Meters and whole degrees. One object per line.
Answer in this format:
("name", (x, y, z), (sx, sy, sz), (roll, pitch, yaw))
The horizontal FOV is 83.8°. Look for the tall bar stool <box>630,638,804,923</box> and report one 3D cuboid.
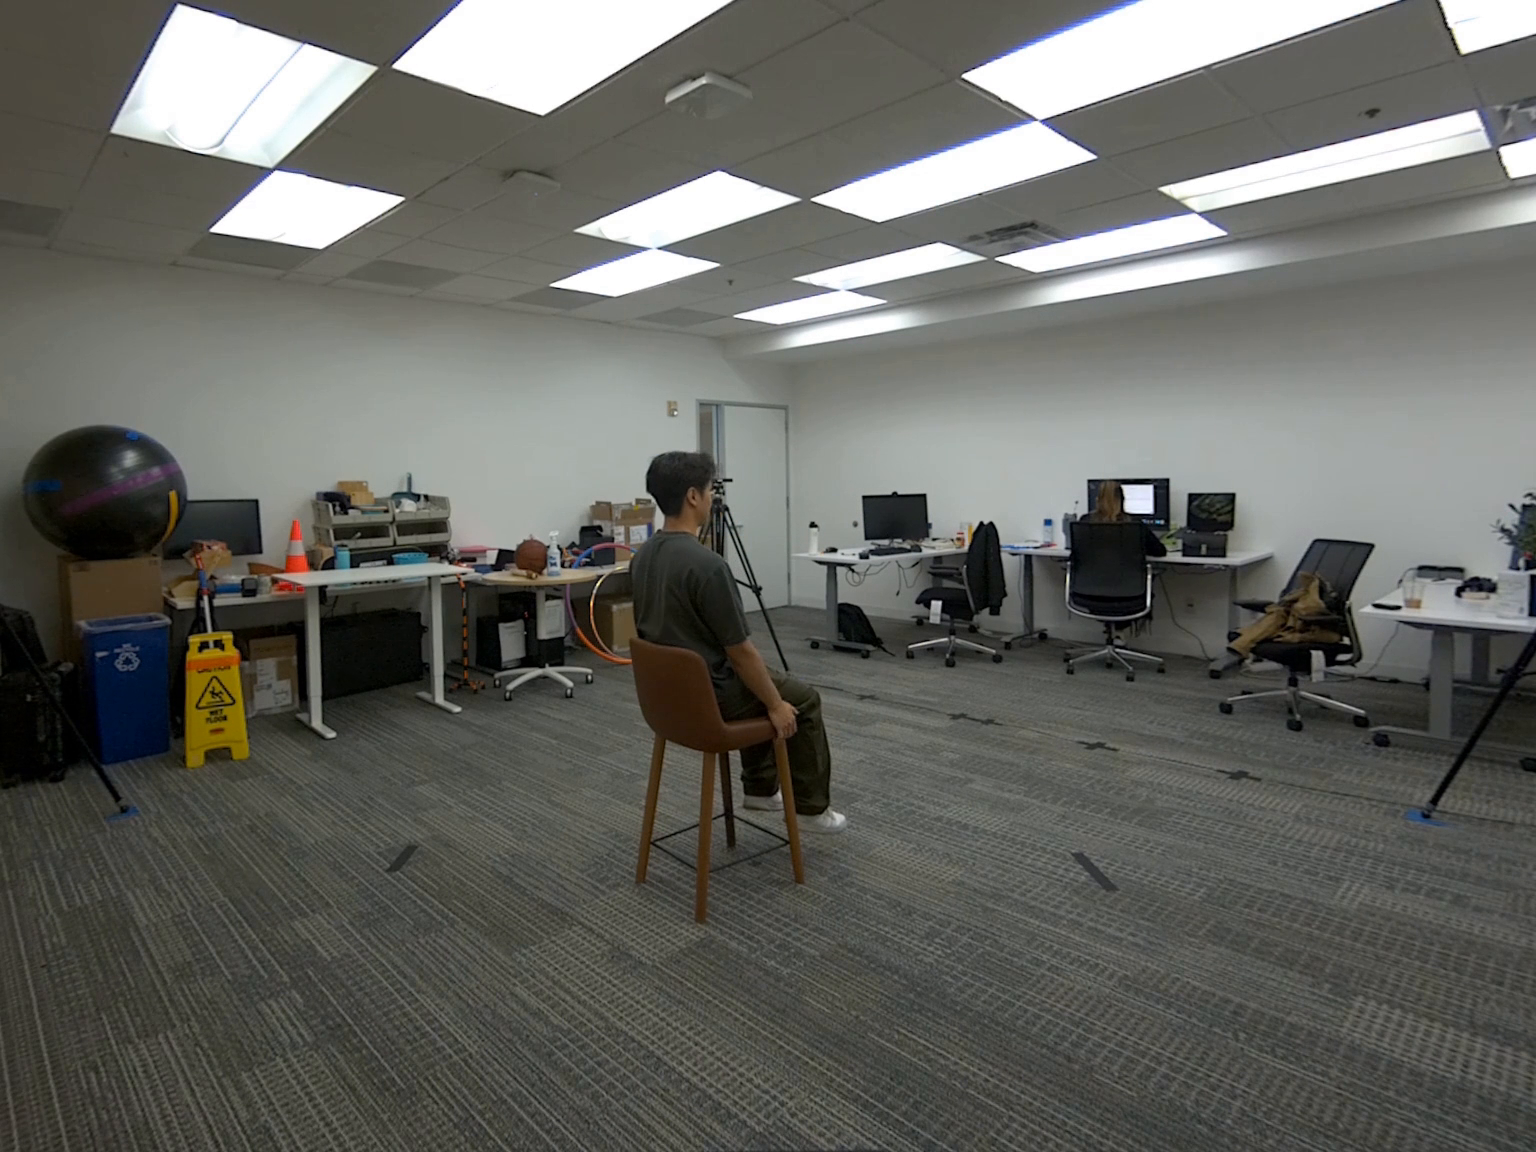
("tall bar stool", (-0.189, 0.629, 2.933), (0.456, 0.885, 0.470), (-8, 8, -40))
